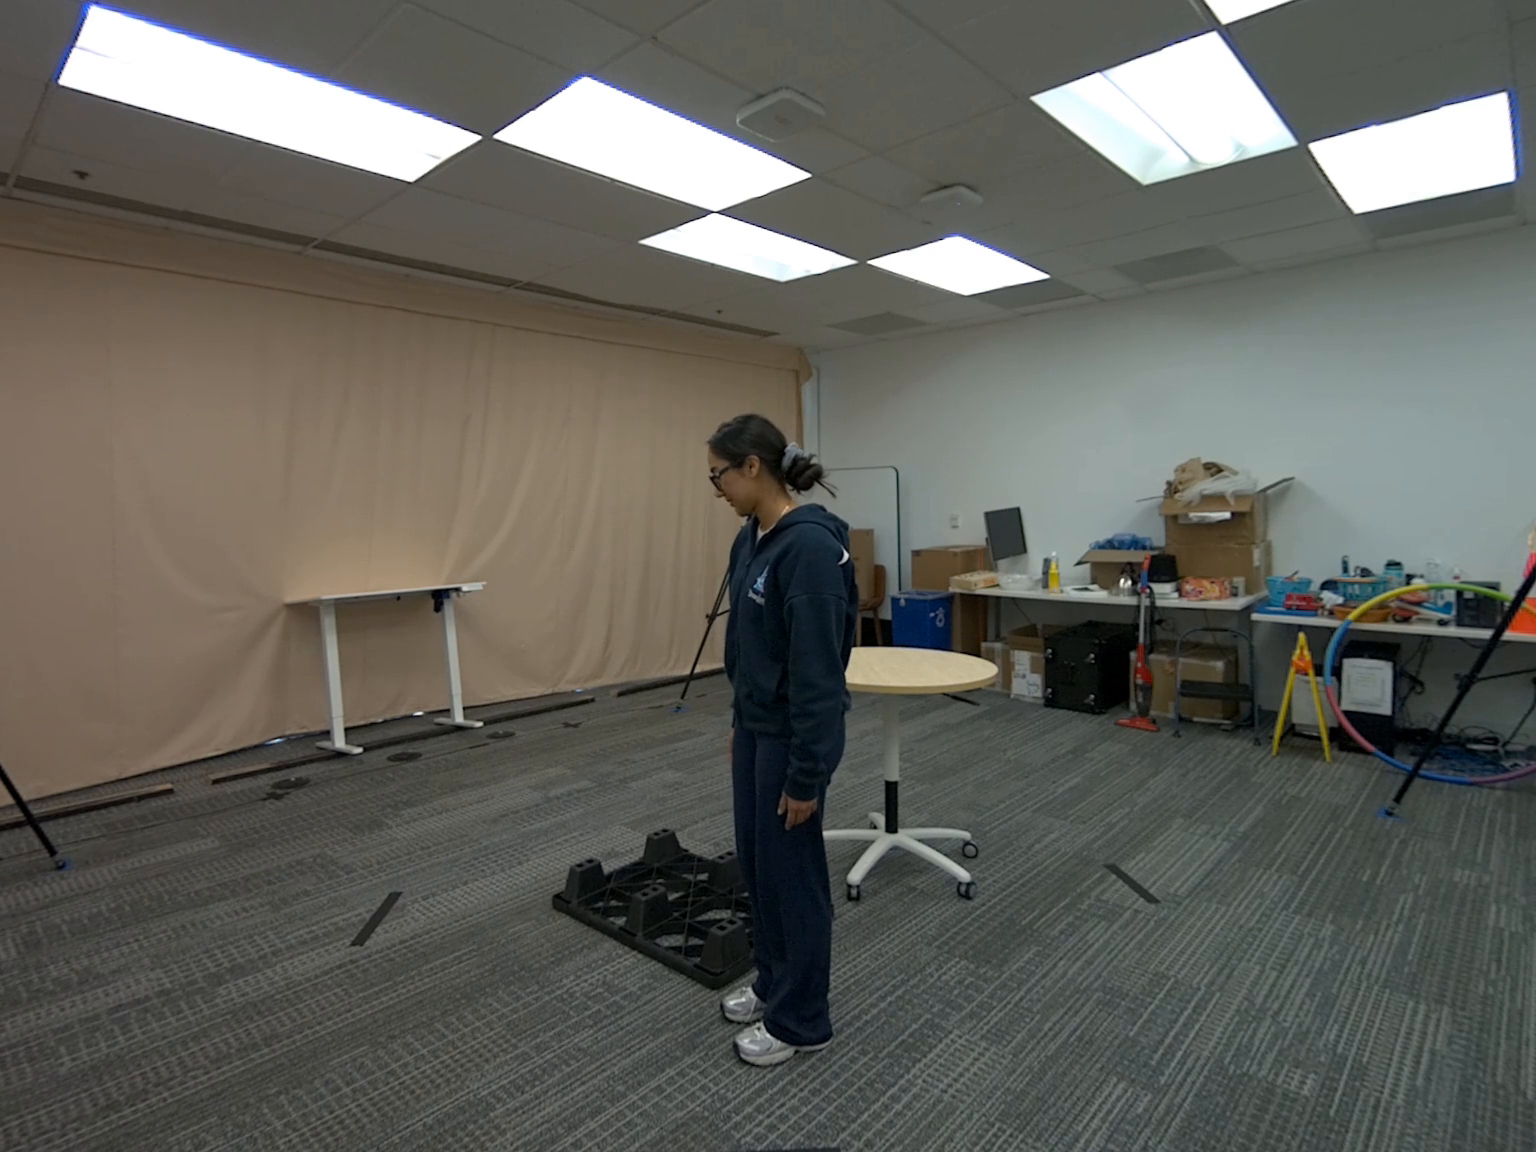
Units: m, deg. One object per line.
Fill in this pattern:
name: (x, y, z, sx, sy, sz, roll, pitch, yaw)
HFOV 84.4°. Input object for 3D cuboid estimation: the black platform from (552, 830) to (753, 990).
black platform: (-0.260, 1.088, 2.896, 0.832, 0.143, 0.587, 3, 7, 41)
